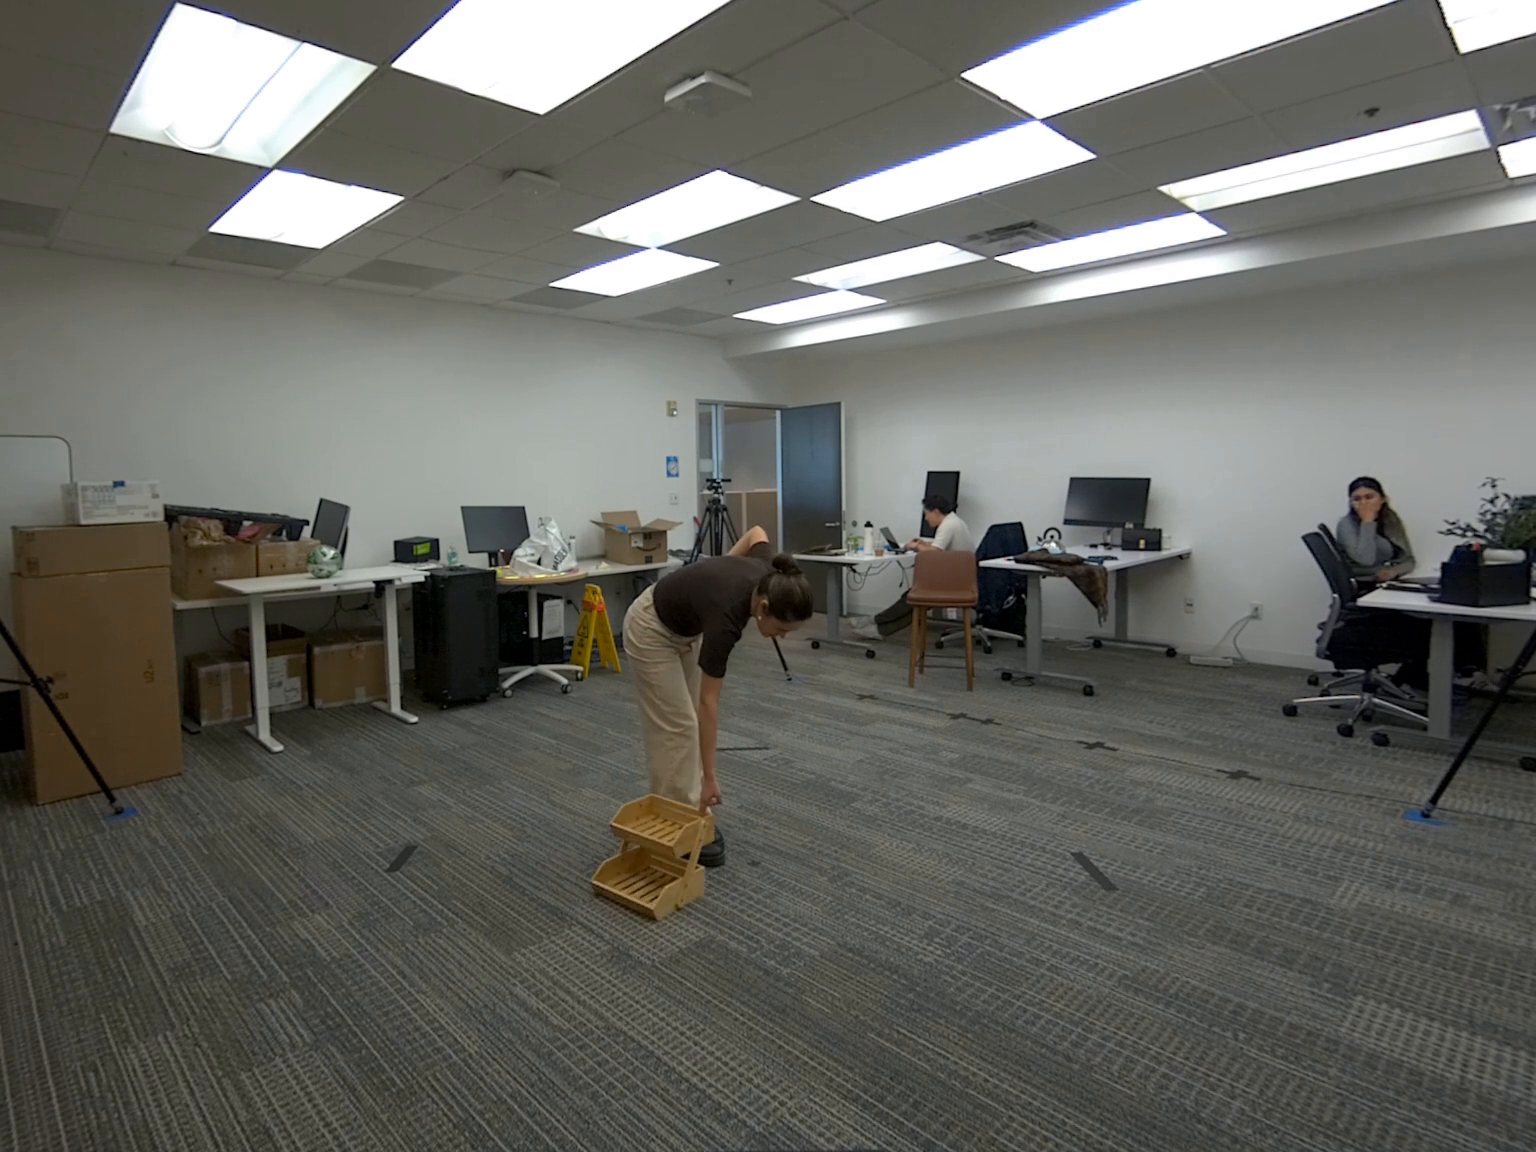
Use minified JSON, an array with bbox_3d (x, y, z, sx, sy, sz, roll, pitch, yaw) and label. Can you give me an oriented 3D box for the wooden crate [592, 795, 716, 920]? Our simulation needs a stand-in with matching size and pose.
[{"bbox_3d":[-0.390,0.940,2.895,0.334,0.272,0.294,4,6,39],"label":"wooden crate"}]
